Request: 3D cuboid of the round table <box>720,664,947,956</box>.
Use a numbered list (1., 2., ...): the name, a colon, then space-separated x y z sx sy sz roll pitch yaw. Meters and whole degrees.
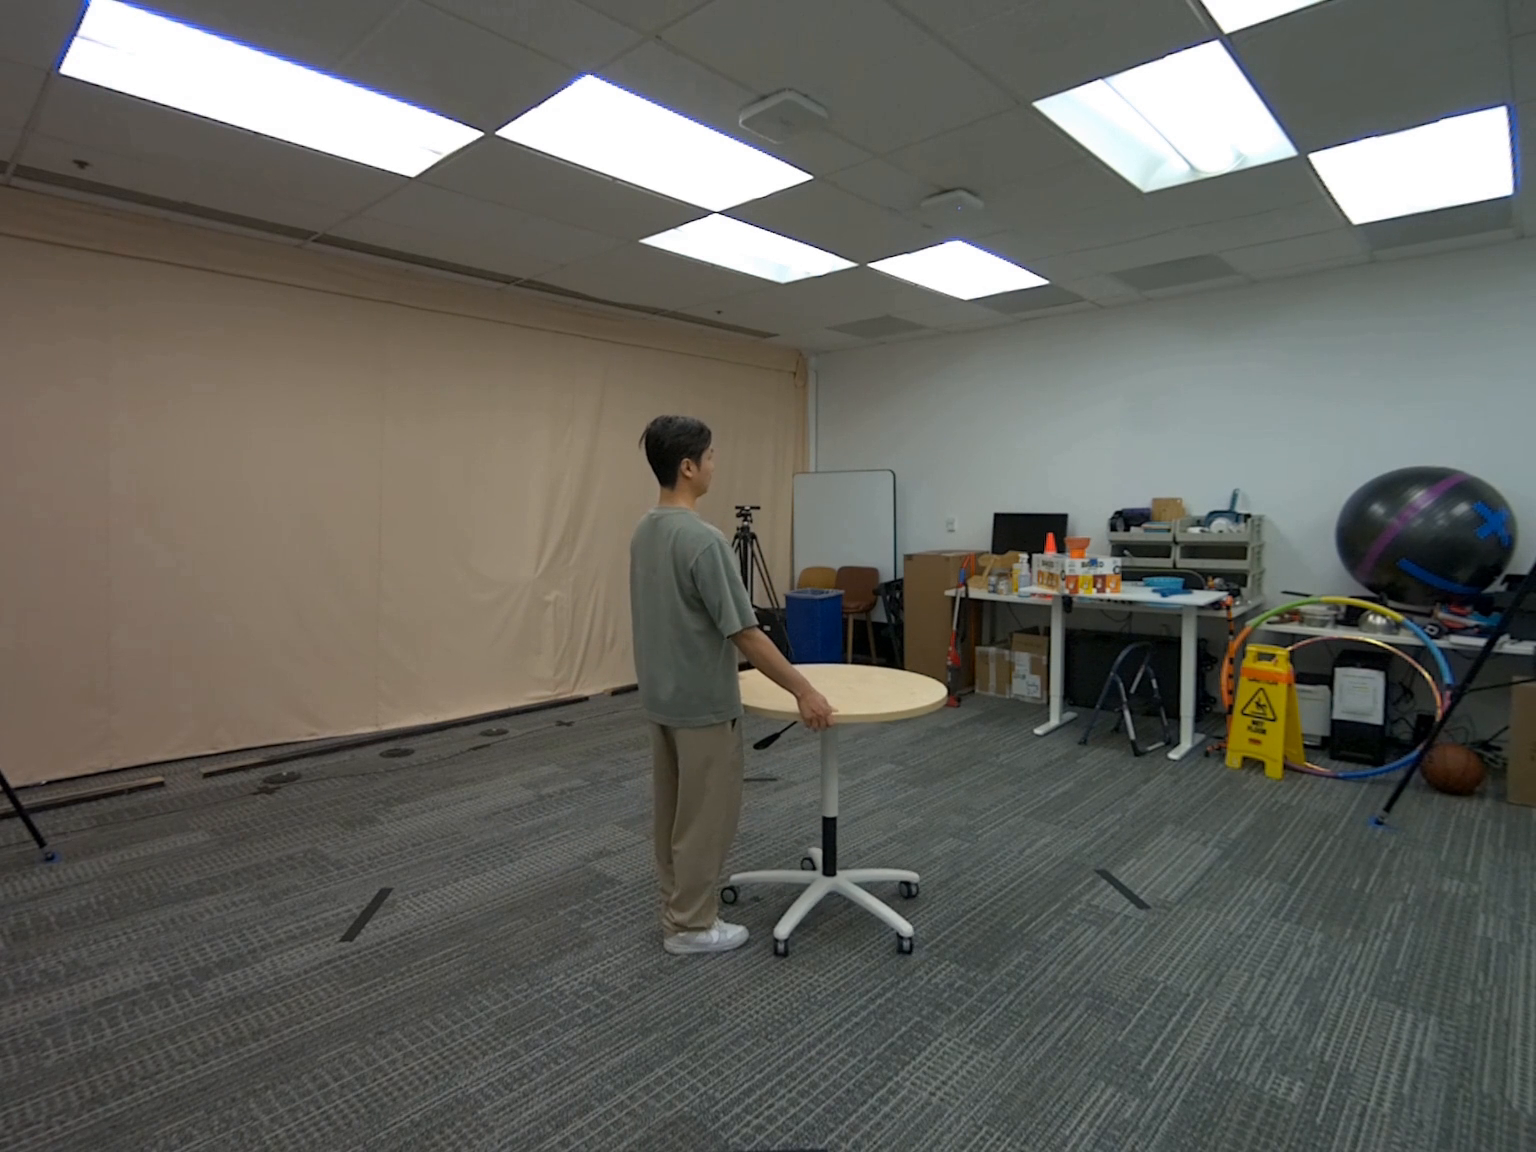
1. round table: 0.226 0.757 2.854 0.784 0.784 0.788 0 4 -2
